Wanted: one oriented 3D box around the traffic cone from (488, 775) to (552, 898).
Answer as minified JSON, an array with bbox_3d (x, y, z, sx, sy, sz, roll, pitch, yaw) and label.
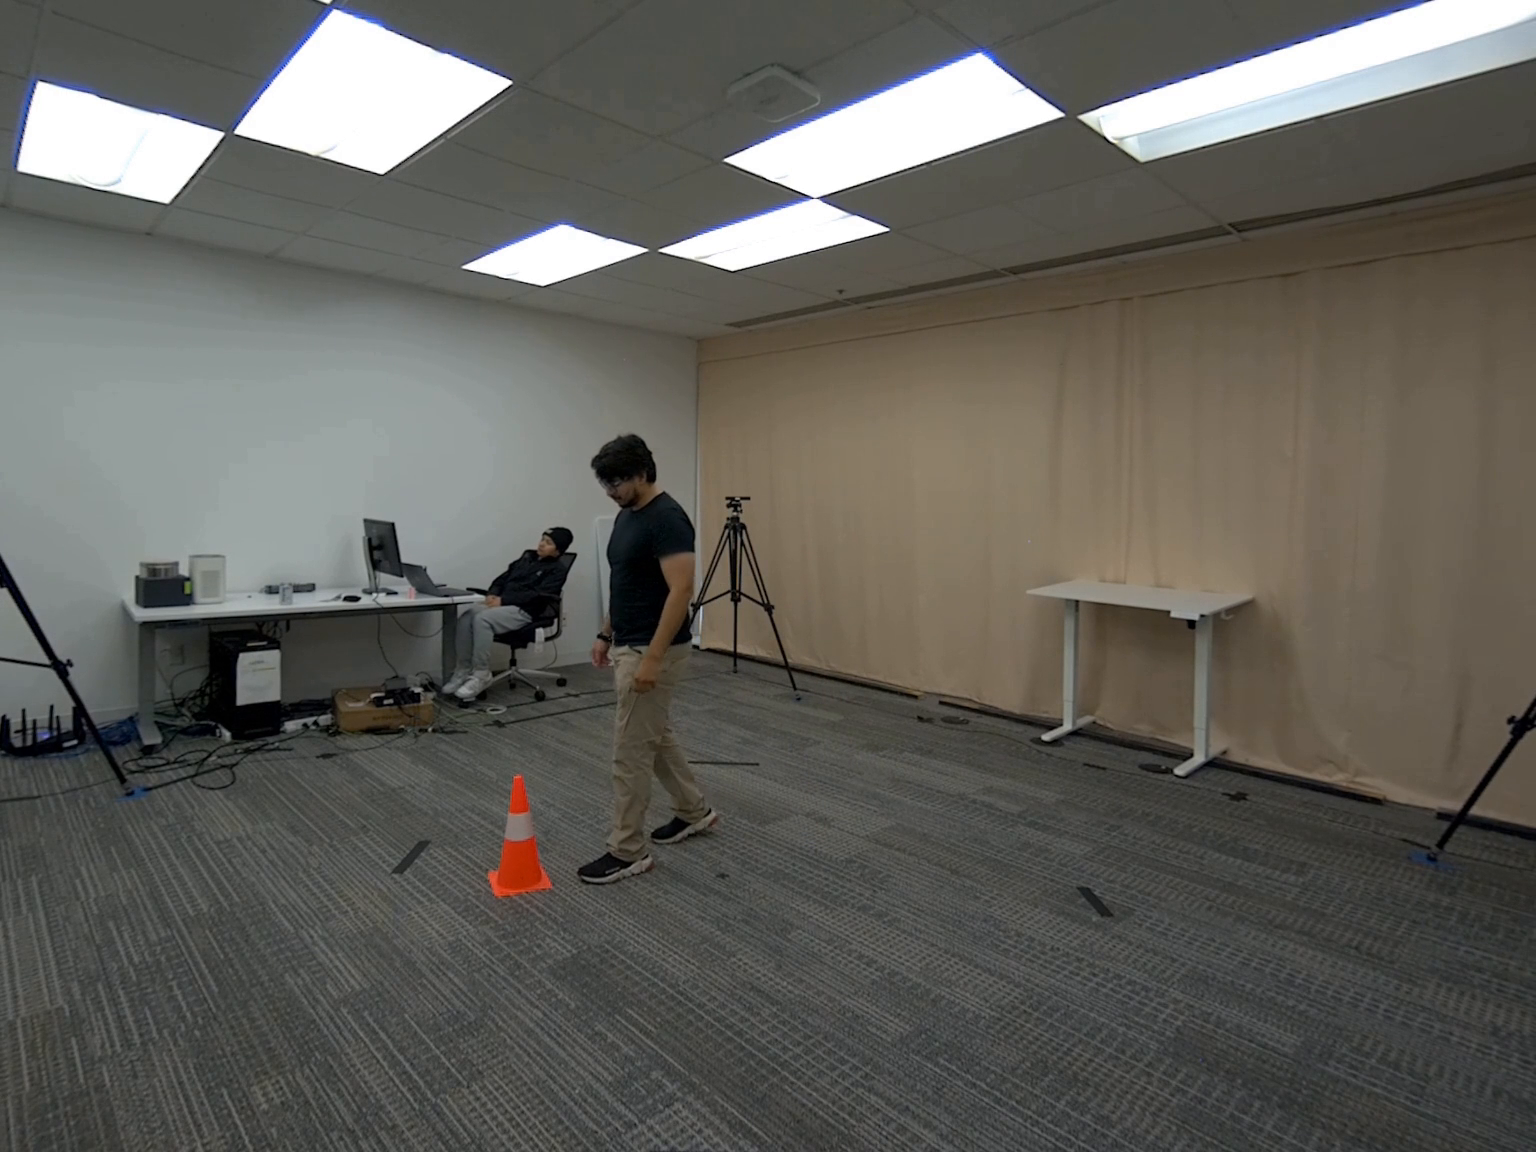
[{"bbox_3d":[-0.897,0.914,3.015,0.201,0.382,0.208,0,5,-25],"label":"traffic cone"}]
